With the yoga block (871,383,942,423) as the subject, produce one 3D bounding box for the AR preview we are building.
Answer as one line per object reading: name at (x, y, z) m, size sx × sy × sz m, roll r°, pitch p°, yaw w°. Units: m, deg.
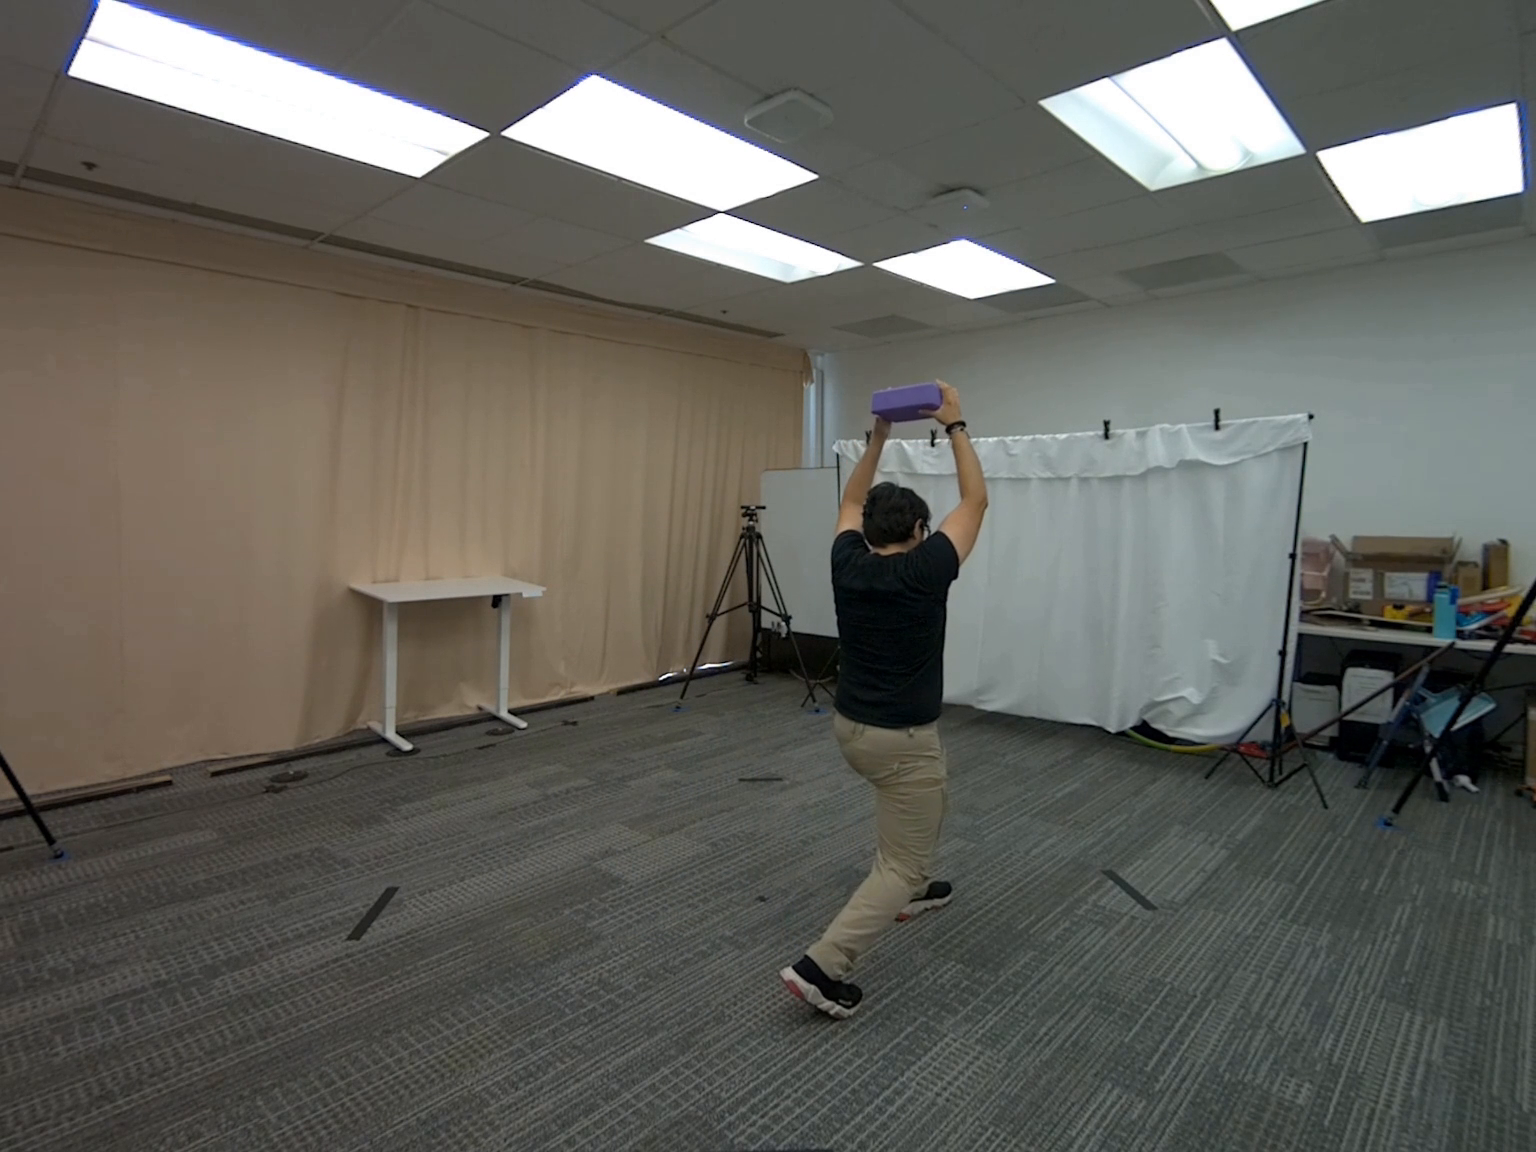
yoga block at (0.477, -0.570, 2.745) m, size 0.237 × 0.076 × 0.144 m, roll 0°, pitch -3°, yaw 41°
